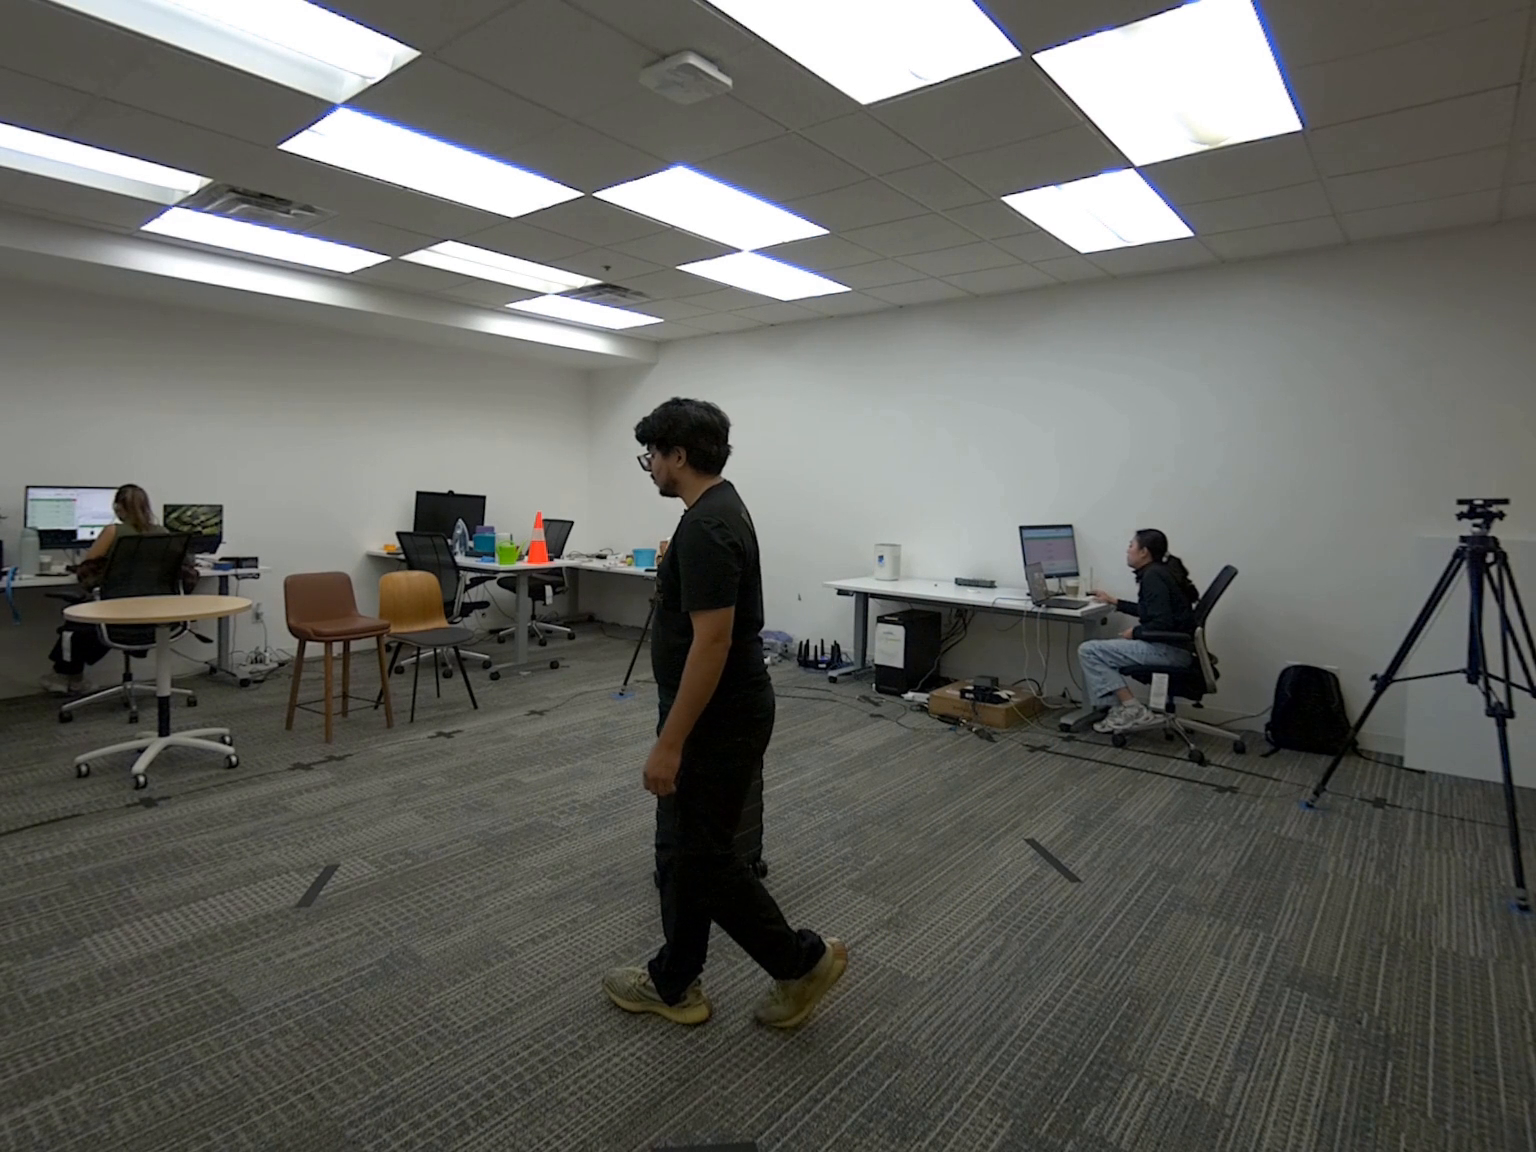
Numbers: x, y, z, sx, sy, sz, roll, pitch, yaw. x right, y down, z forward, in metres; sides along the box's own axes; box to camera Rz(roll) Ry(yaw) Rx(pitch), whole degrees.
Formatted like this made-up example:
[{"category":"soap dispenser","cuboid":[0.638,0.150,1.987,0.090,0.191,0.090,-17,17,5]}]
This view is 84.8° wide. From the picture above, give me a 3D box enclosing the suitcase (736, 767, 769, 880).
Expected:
[{"category":"suitcase","cuboid":[-0.209,0.801,3.026,0.256,0.548,0.364,2,3,36]}]
